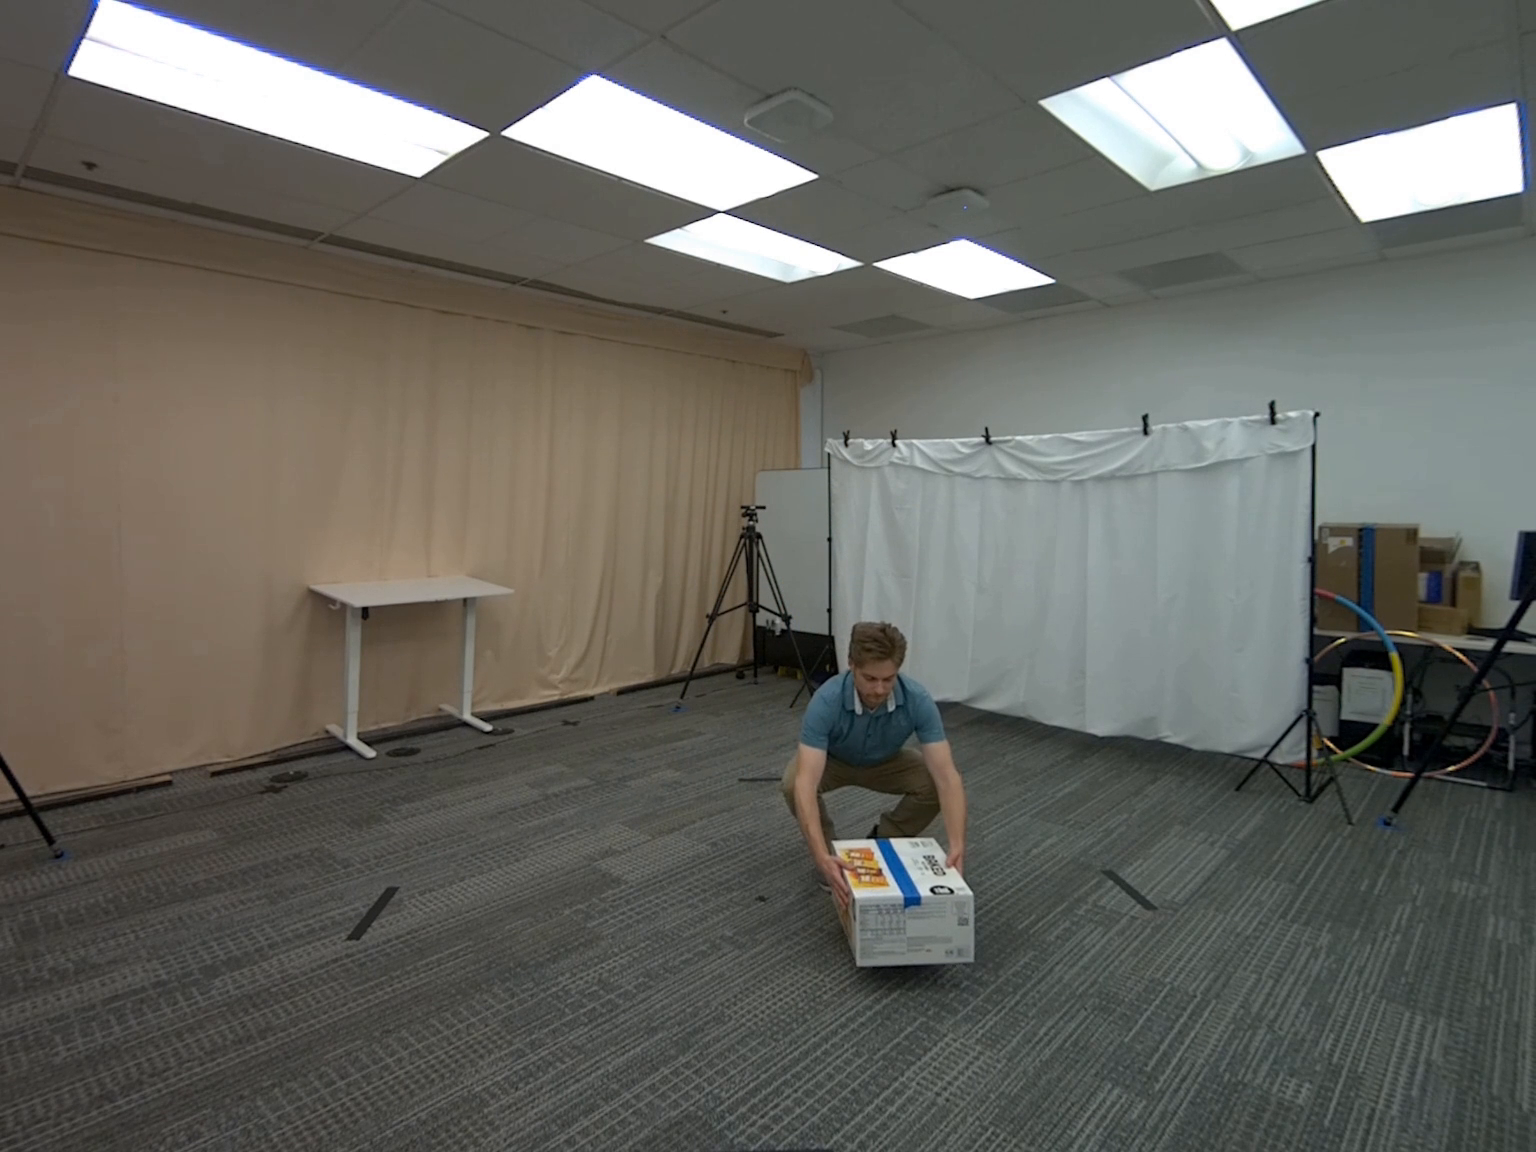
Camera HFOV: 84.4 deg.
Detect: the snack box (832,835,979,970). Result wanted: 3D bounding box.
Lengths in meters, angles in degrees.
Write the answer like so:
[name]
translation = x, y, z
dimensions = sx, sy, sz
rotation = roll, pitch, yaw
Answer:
[snack box]
translation = 0.399, 0.977, 2.580
dimensions = 0.339, 0.205, 0.408
rotation = -2, 5, -4
